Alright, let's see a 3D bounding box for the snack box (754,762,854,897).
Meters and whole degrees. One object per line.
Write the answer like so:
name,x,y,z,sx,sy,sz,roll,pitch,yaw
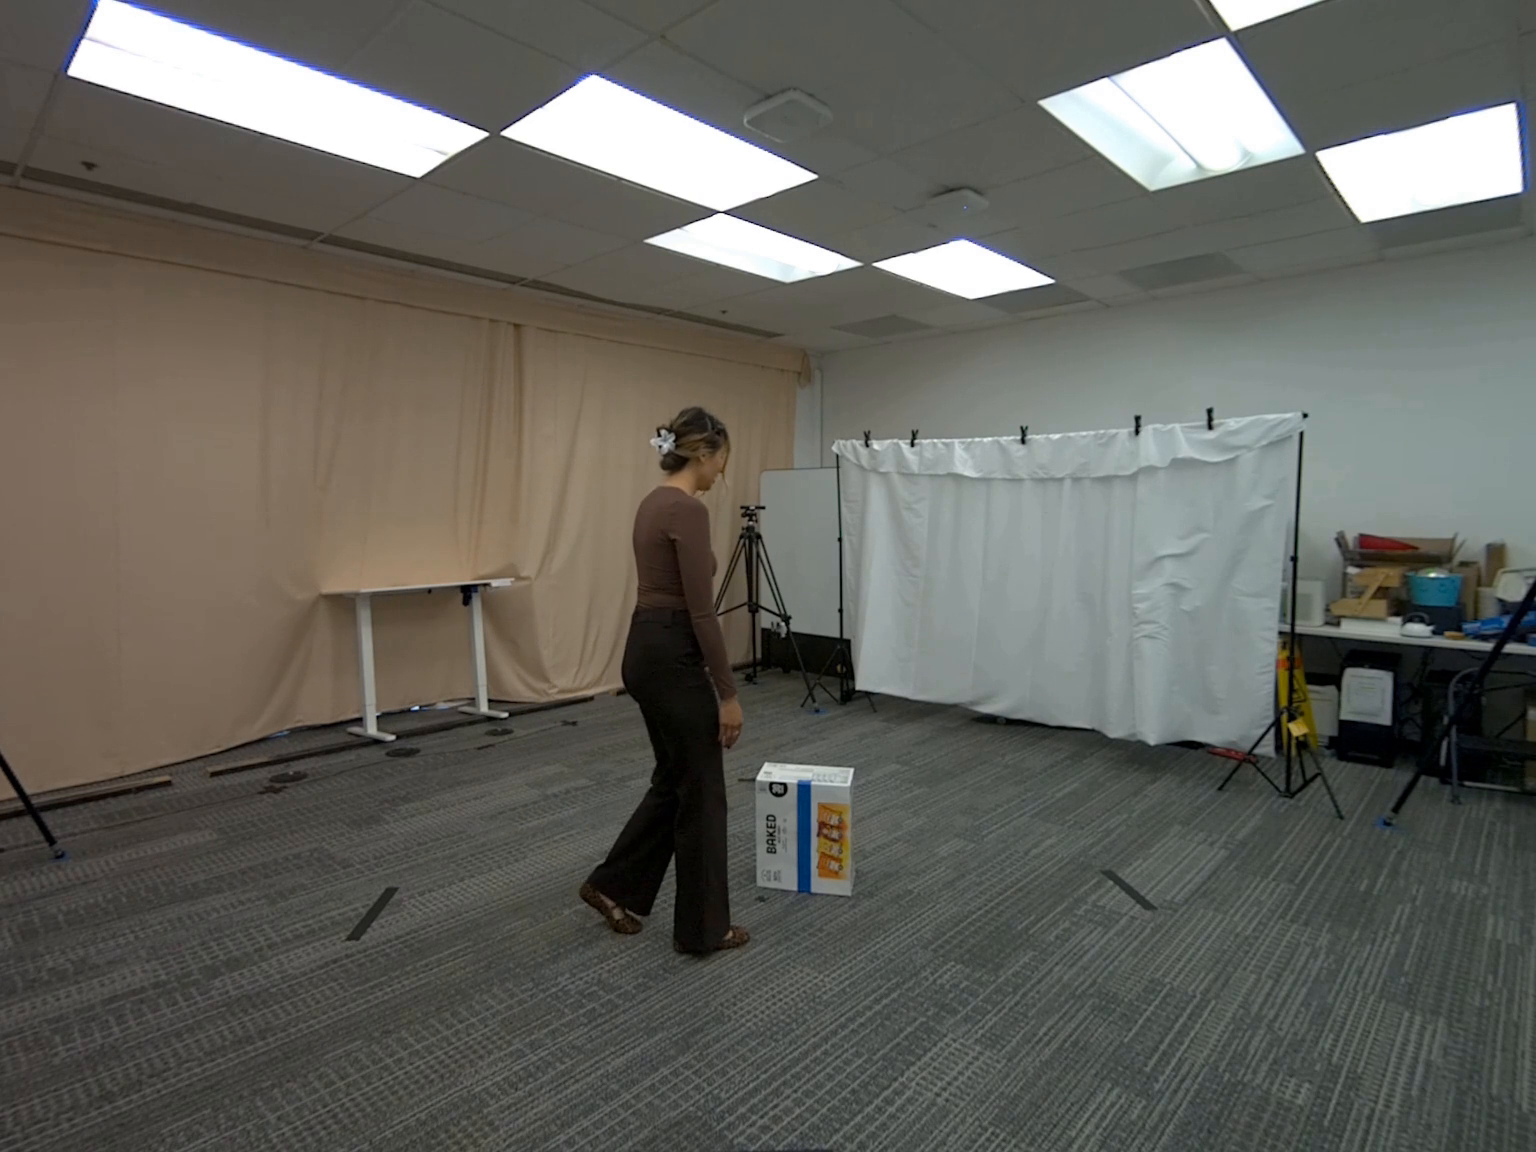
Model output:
snack box,0.148,0.928,3.116,0.345,0.404,0.203,0,4,13
